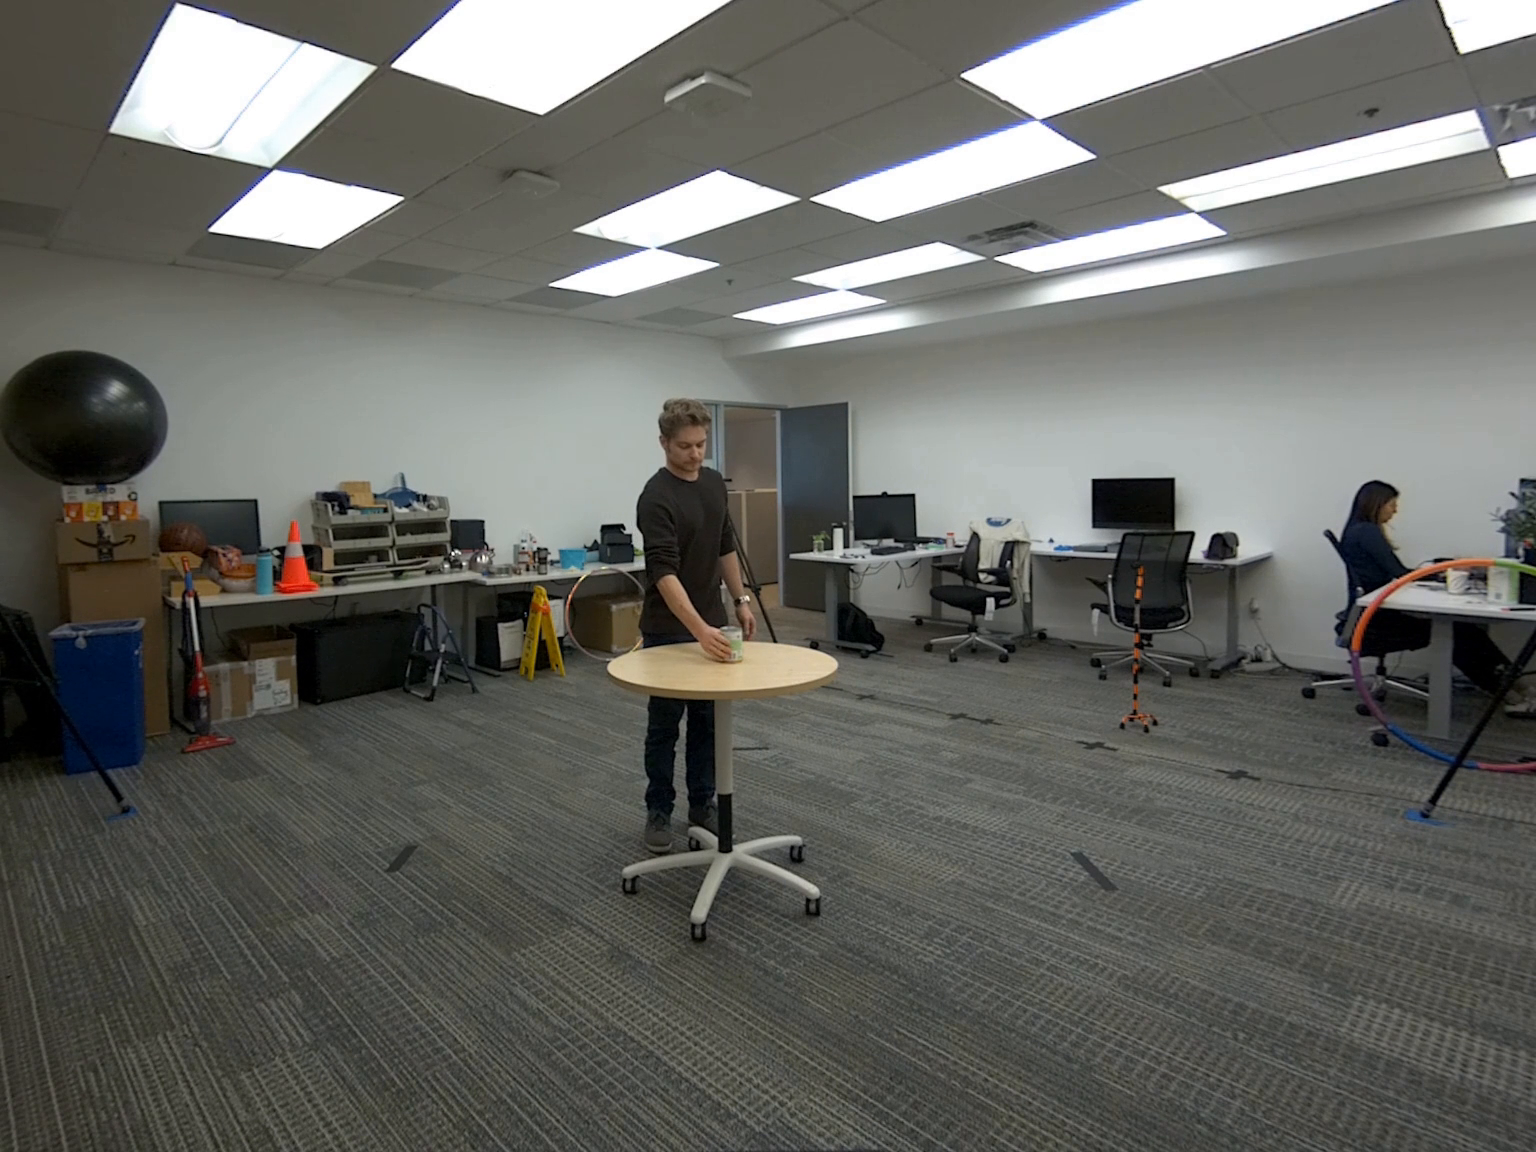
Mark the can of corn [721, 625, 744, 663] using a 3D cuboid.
[{"bbox_3d":[-0.128,0.237,2.875,0.074,0.111,0.074,-2,1,-2],"label":"can of corn"}]
